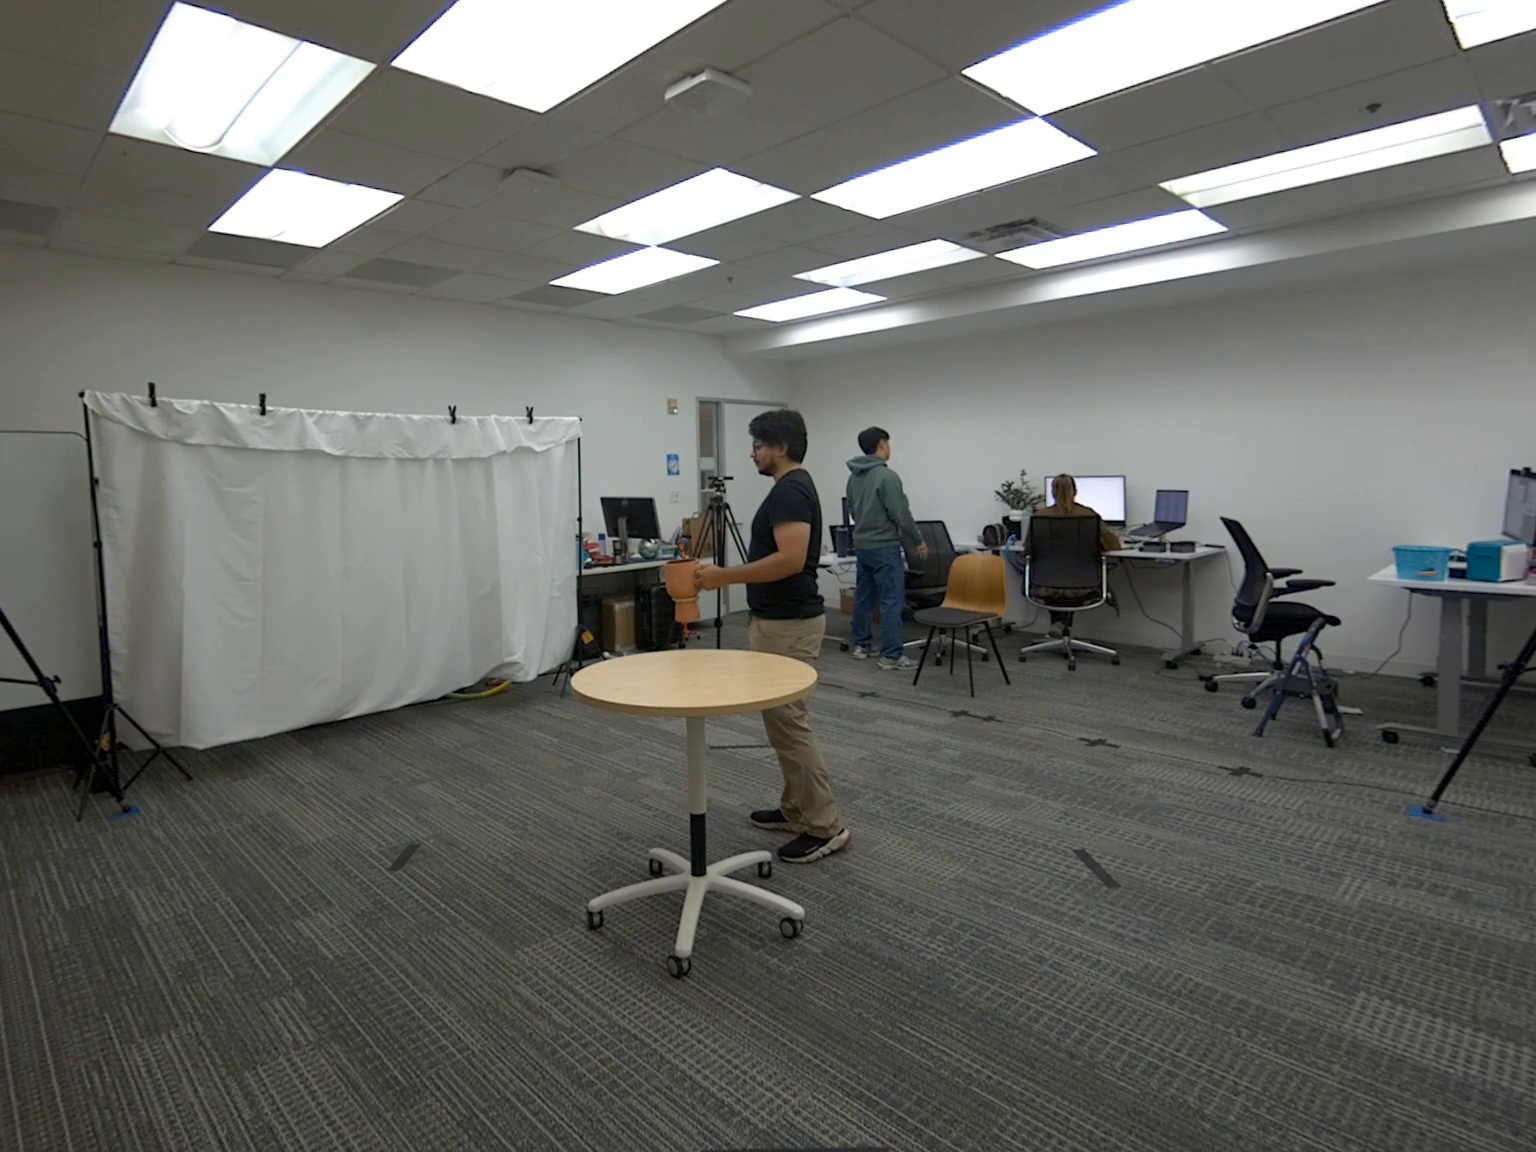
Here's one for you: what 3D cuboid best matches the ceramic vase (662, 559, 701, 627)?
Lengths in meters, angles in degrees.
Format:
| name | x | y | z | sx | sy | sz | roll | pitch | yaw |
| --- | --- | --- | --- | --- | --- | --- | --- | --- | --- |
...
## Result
| name | x | y | z | sx | sy | sz | roll | pitch | yaw |
| --- | --- | --- | --- | --- | --- | --- | --- | --- | --- |
| ceramic vase | -0.305 | 0.054 | 3.174 | 0.133 | 0.218 | 0.162 | -8 | 6 | -15 |
